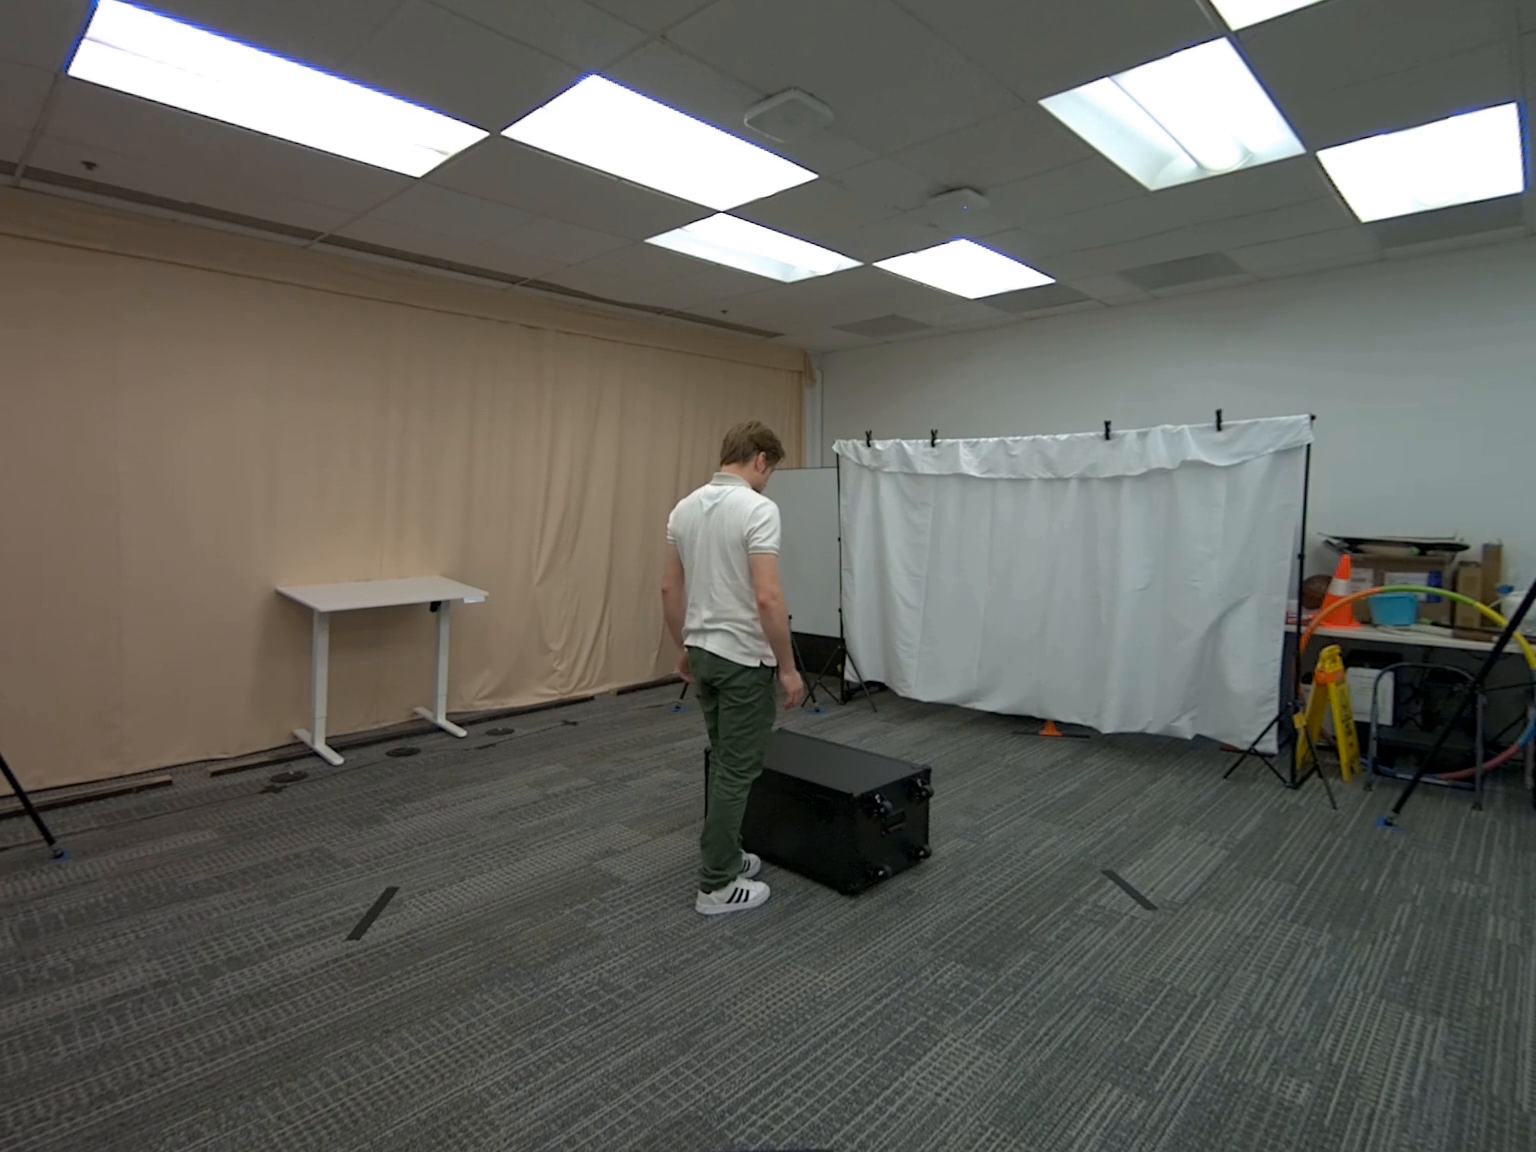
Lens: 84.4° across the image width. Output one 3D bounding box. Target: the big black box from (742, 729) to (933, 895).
[{"bbox_3d":[0.208,0.917,3.378,0.890,0.395,0.505,3,5,44],"label":"big black box"}]
